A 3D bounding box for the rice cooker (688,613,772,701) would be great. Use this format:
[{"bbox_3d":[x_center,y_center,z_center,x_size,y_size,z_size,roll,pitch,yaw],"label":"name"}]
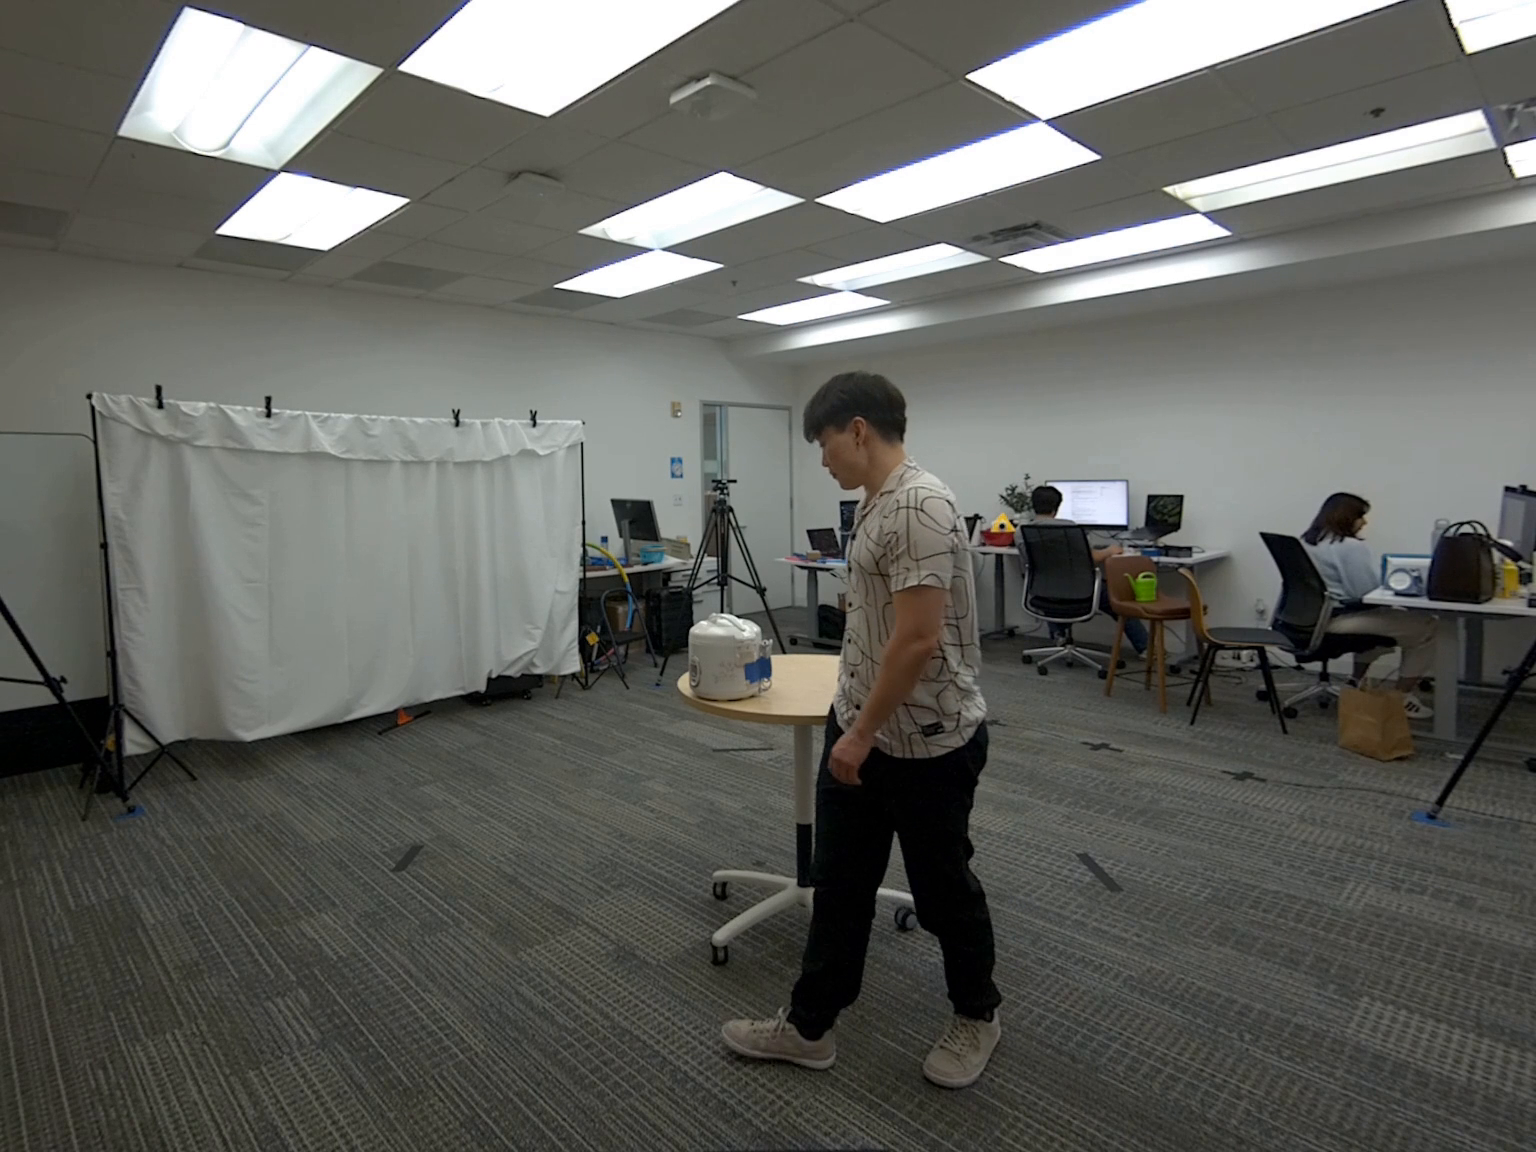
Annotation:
[{"bbox_3d":[-0.117,0.226,2.447,0.212,0.232,0.227,-4,5,-36],"label":"rice cooker"}]
